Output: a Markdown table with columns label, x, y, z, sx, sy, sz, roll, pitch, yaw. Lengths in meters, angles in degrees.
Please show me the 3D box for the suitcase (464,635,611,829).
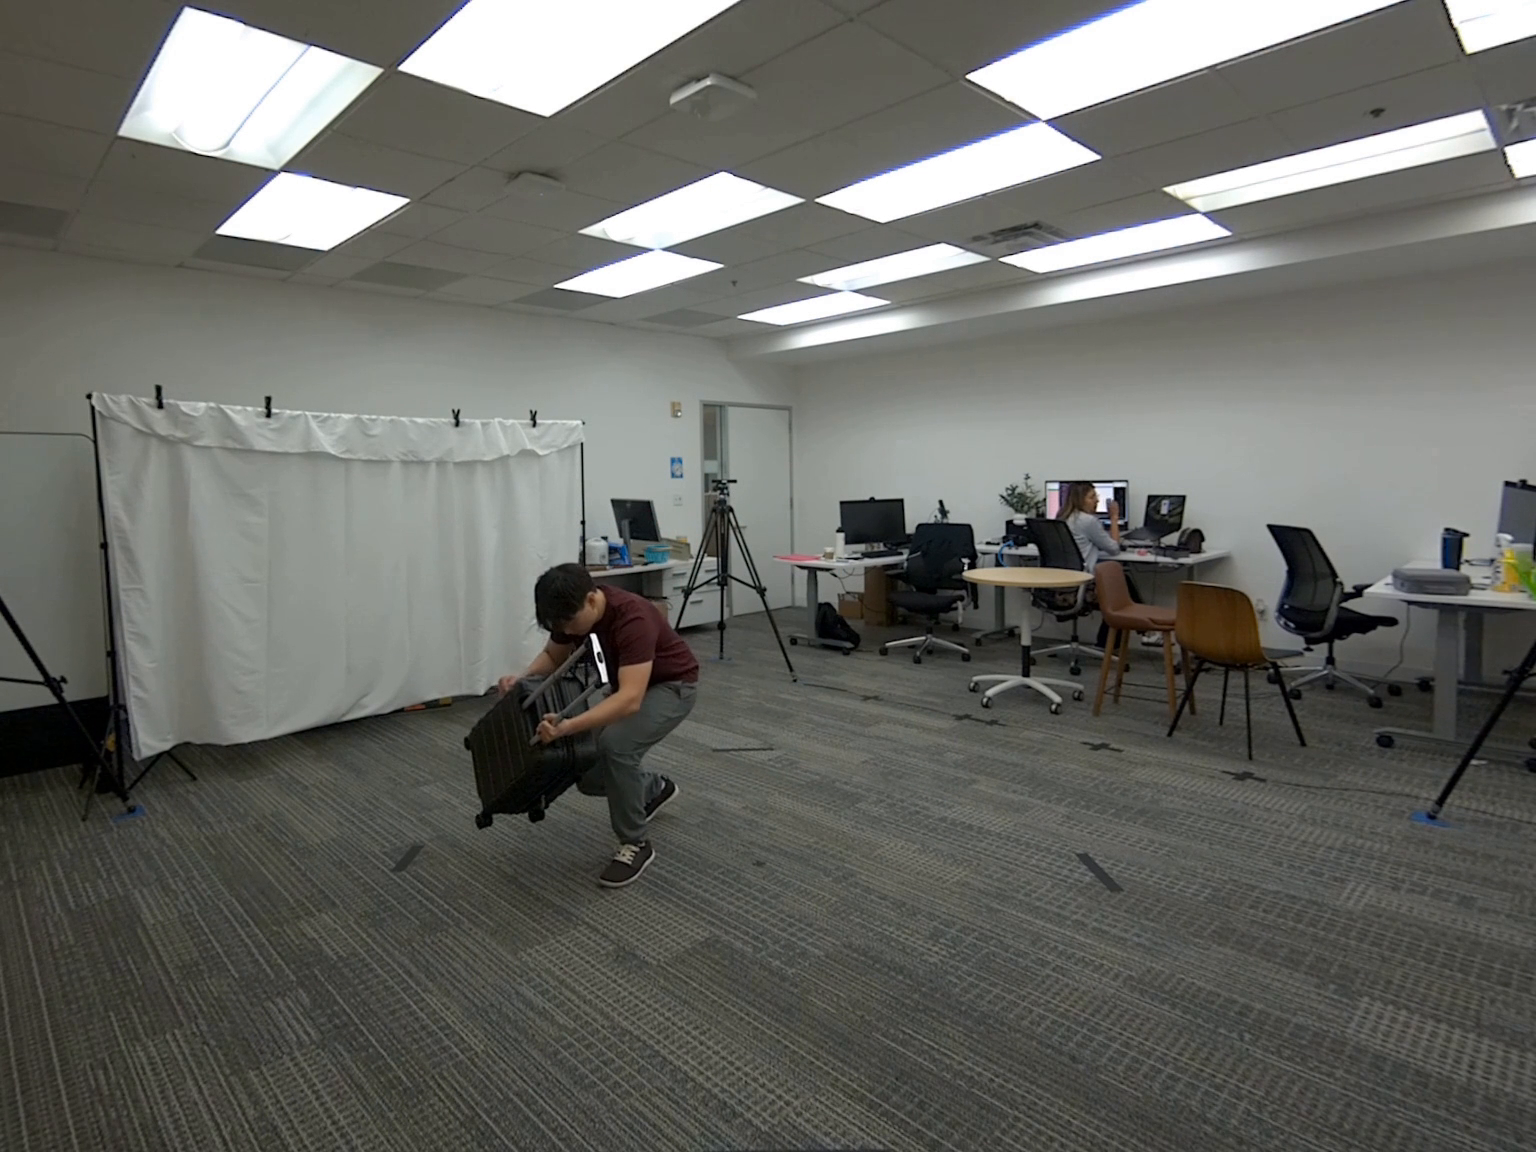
| label | x | y | z | sx | sy | sz | roll | pitch | yaw |
| --- | --- | --- | --- | --- | --- | --- | --- | --- | --- |
| suitcase | -0.716 | 0.494 | 2.890 | 0.249 | 0.396 | 0.981 | 9 | -39 | -41 |
